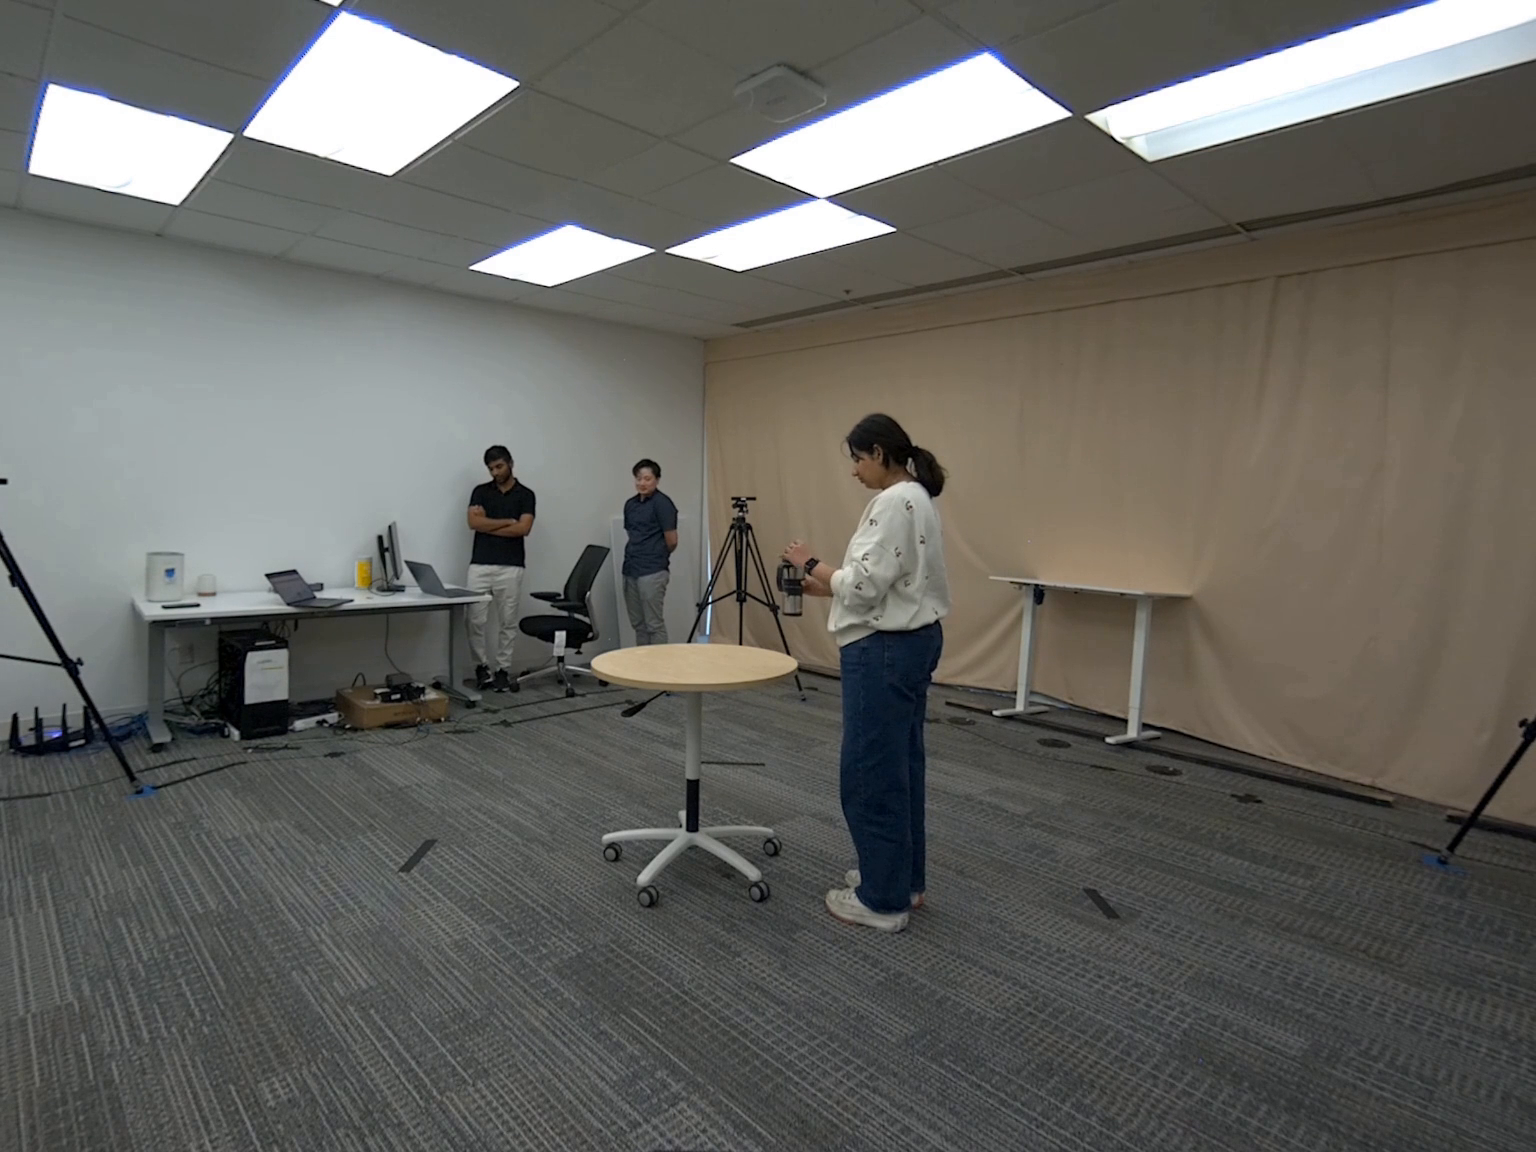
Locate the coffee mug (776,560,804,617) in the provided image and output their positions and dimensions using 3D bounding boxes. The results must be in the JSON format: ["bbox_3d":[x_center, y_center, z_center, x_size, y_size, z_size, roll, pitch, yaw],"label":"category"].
[{"bbox_3d":[0.063,0.040,2.984,0.120,0.202,0.089,3,8,-18],"label":"coffee mug"}]
